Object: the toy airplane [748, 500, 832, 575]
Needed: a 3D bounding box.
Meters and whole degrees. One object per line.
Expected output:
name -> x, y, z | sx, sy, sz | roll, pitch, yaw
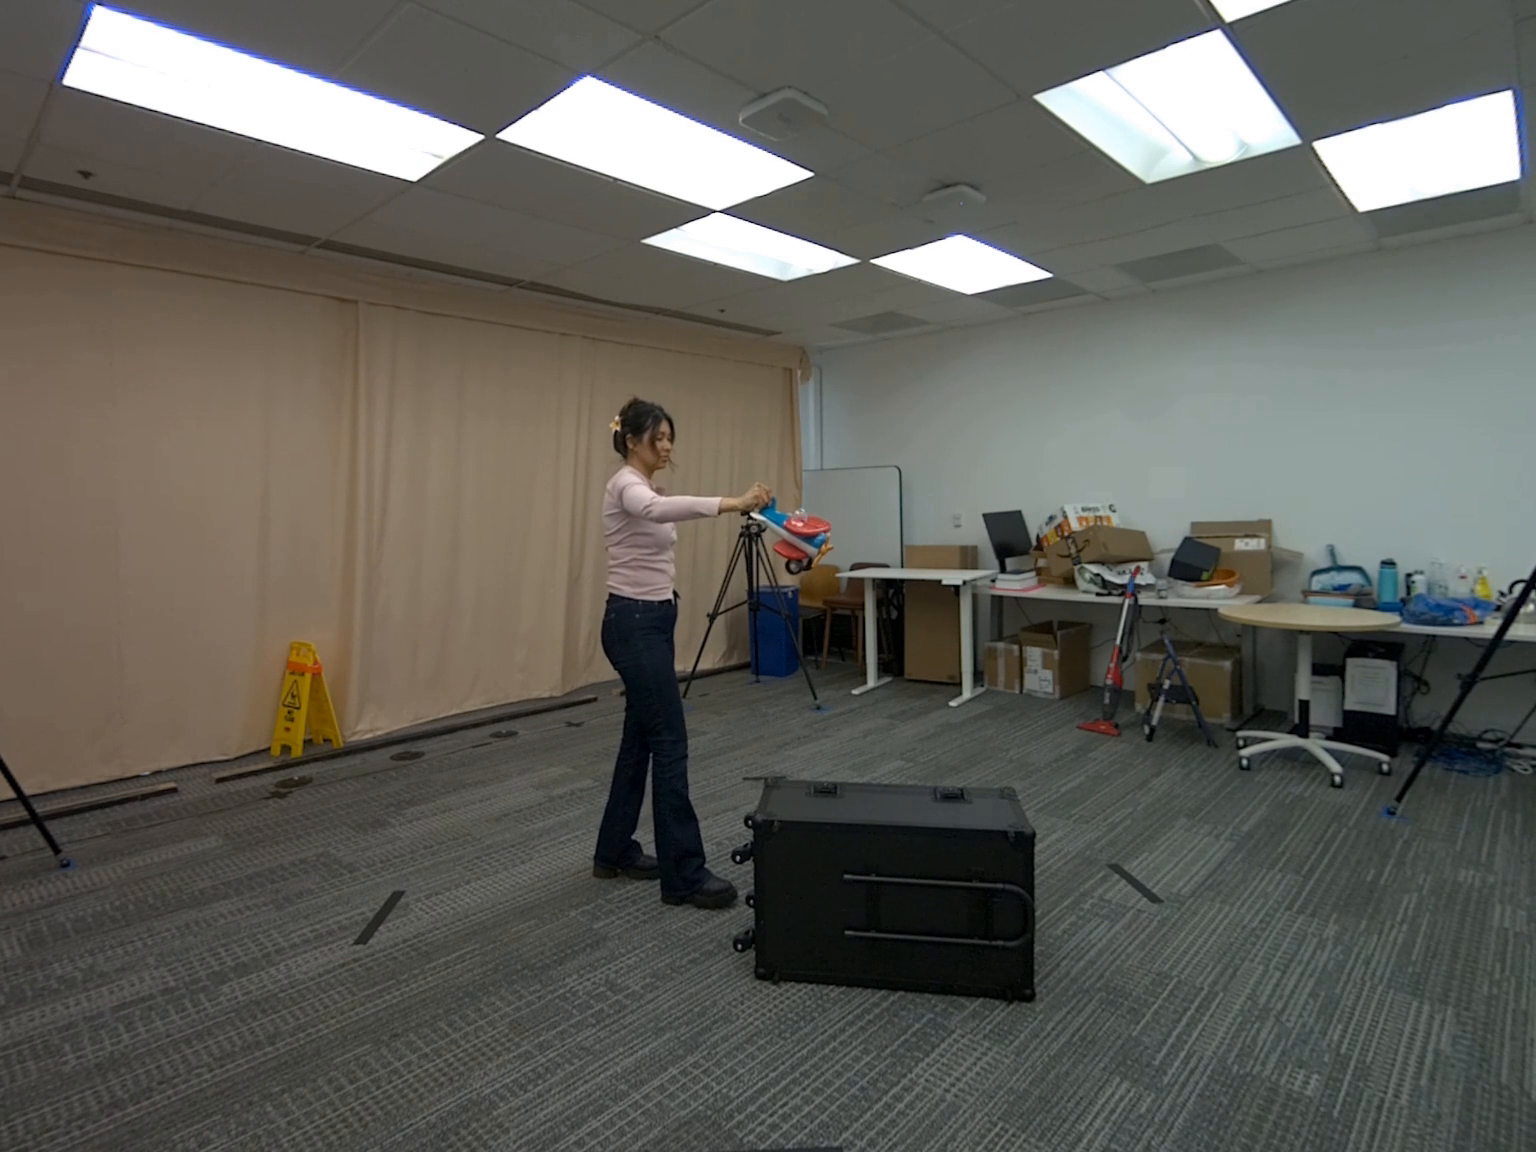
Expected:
toy airplane -> 0.067, -0.127, 2.565 | 0.256, 0.157, 0.253 | 34, 25, -10
